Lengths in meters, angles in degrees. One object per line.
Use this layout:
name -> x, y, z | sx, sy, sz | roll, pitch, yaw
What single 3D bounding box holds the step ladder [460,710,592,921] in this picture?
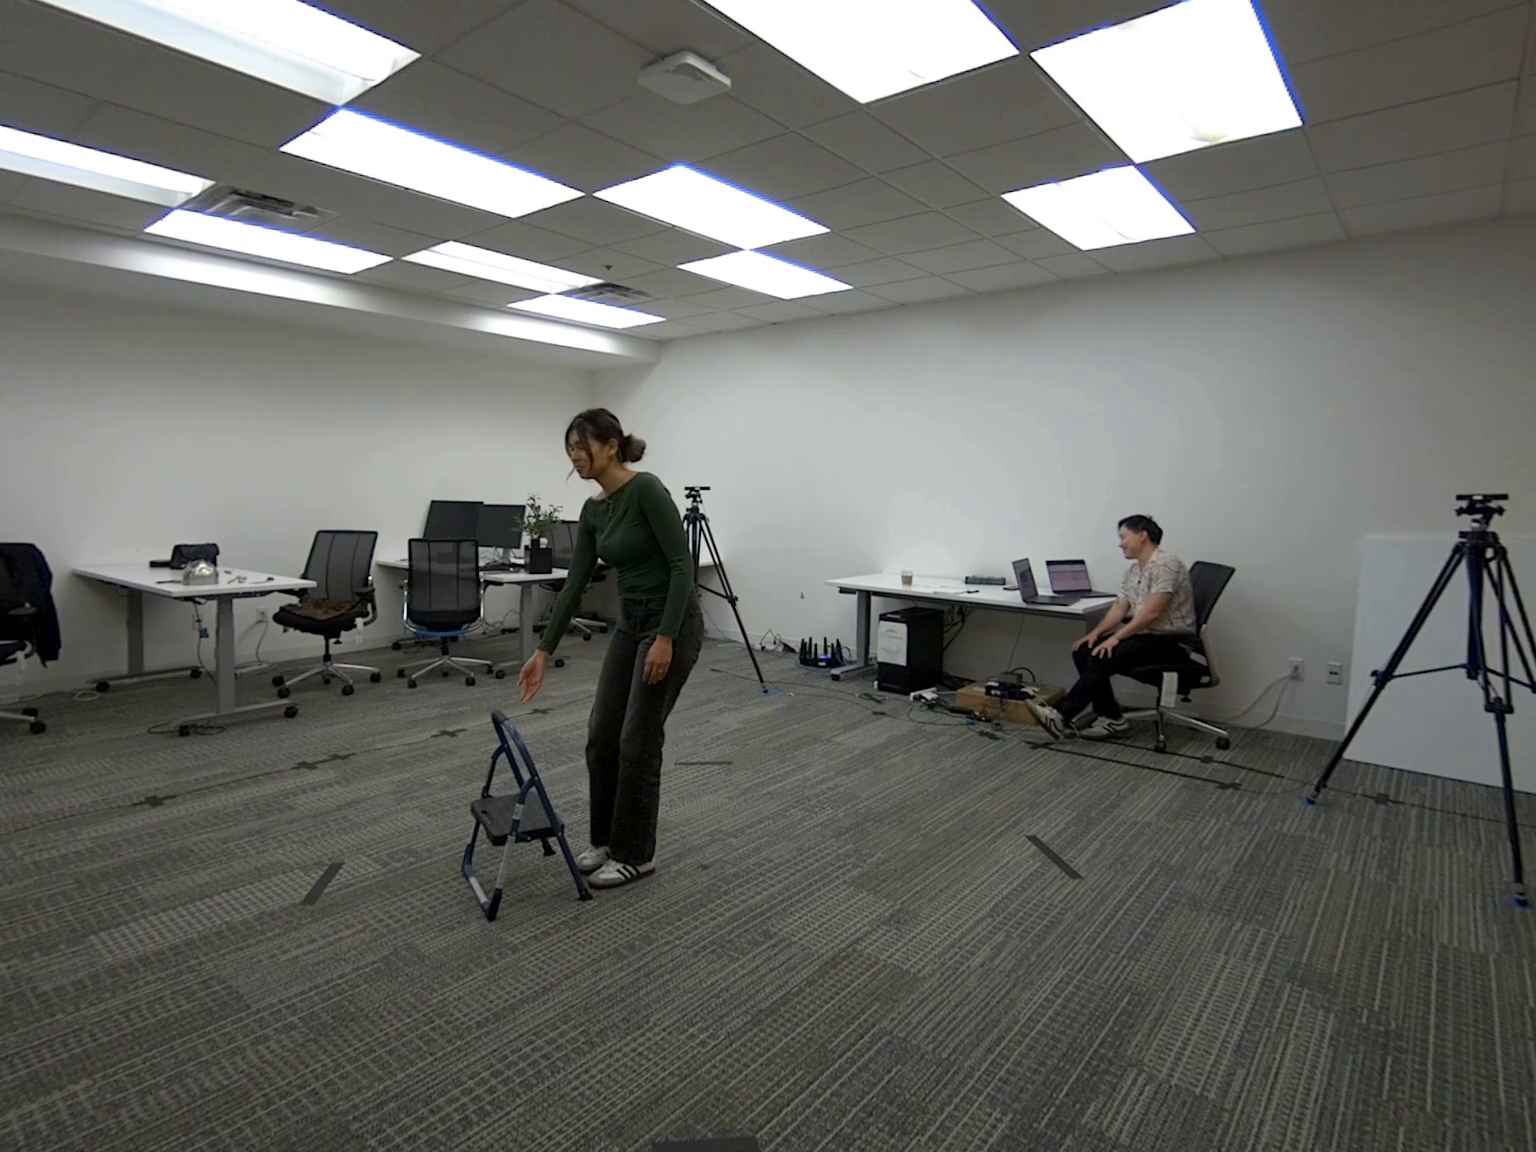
step ladder -> -0.858, 0.772, 2.946 | 0.340, 0.604, 0.444 | -1, 4, -32
